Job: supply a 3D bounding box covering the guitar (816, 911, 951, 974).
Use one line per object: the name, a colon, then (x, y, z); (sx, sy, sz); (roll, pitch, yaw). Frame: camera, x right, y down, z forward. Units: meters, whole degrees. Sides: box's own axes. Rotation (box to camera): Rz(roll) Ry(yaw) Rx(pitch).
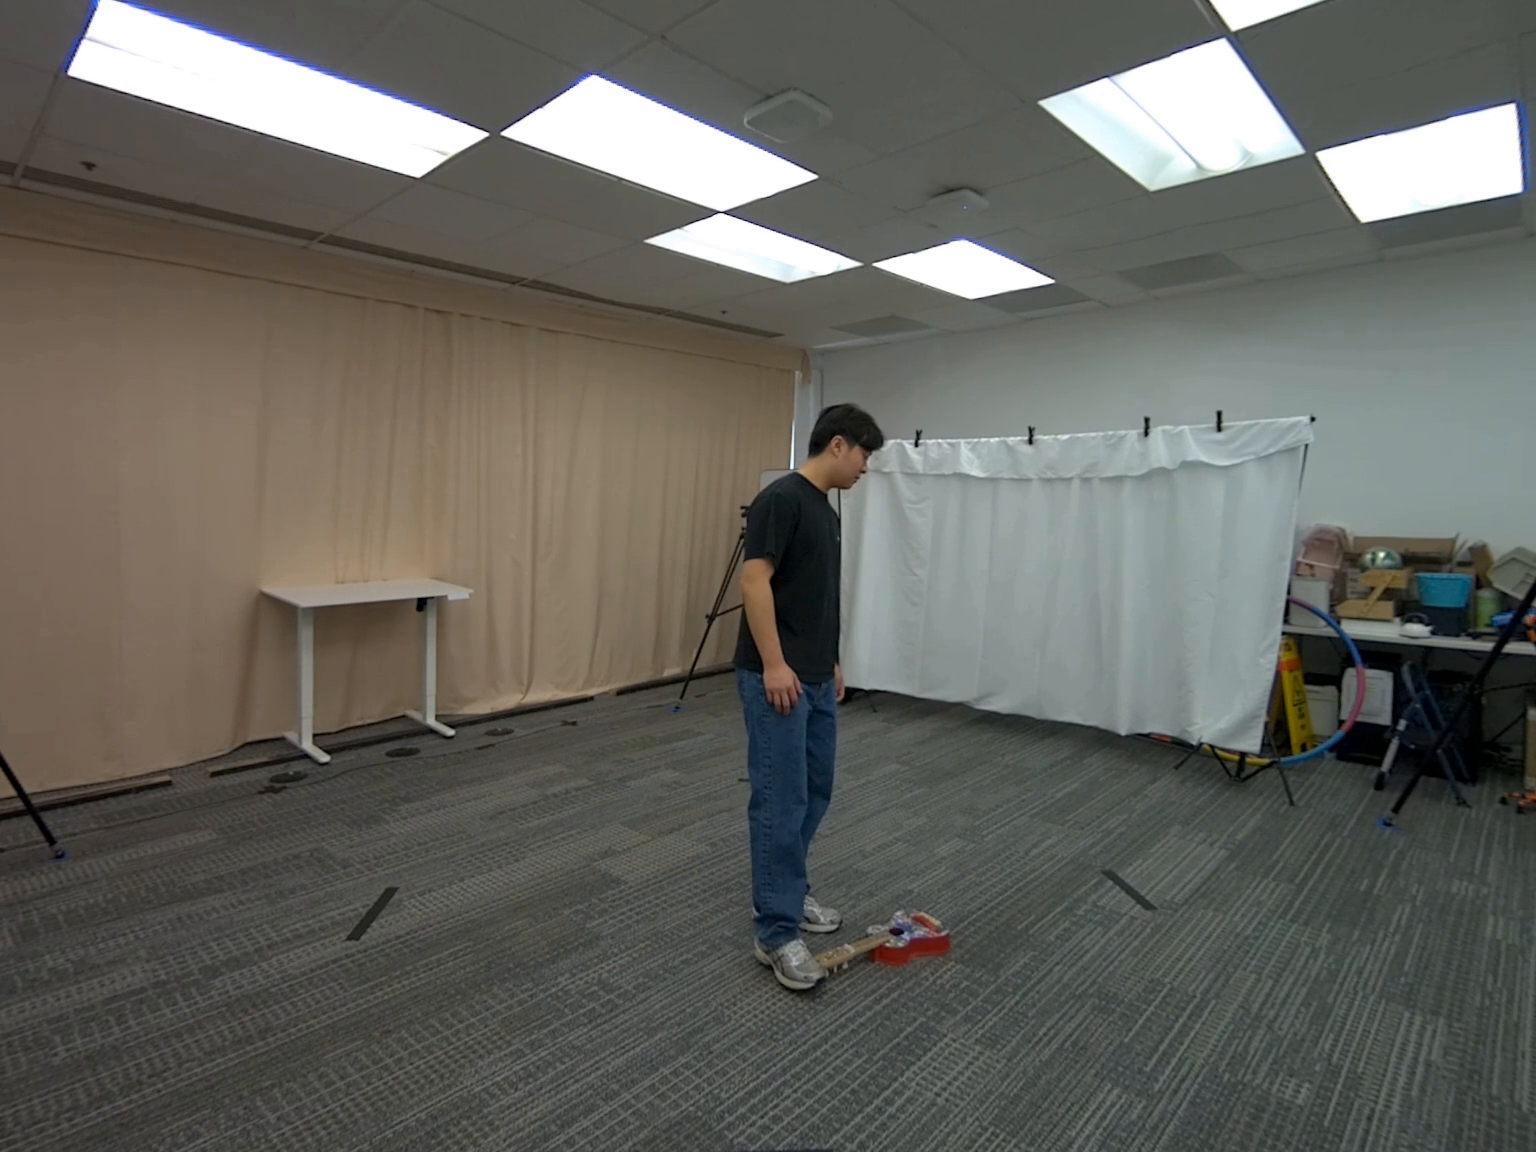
guitar: (0.335, 1.142, 2.612); (0.486, 0.070, 0.198); (-3, 6, -26)
